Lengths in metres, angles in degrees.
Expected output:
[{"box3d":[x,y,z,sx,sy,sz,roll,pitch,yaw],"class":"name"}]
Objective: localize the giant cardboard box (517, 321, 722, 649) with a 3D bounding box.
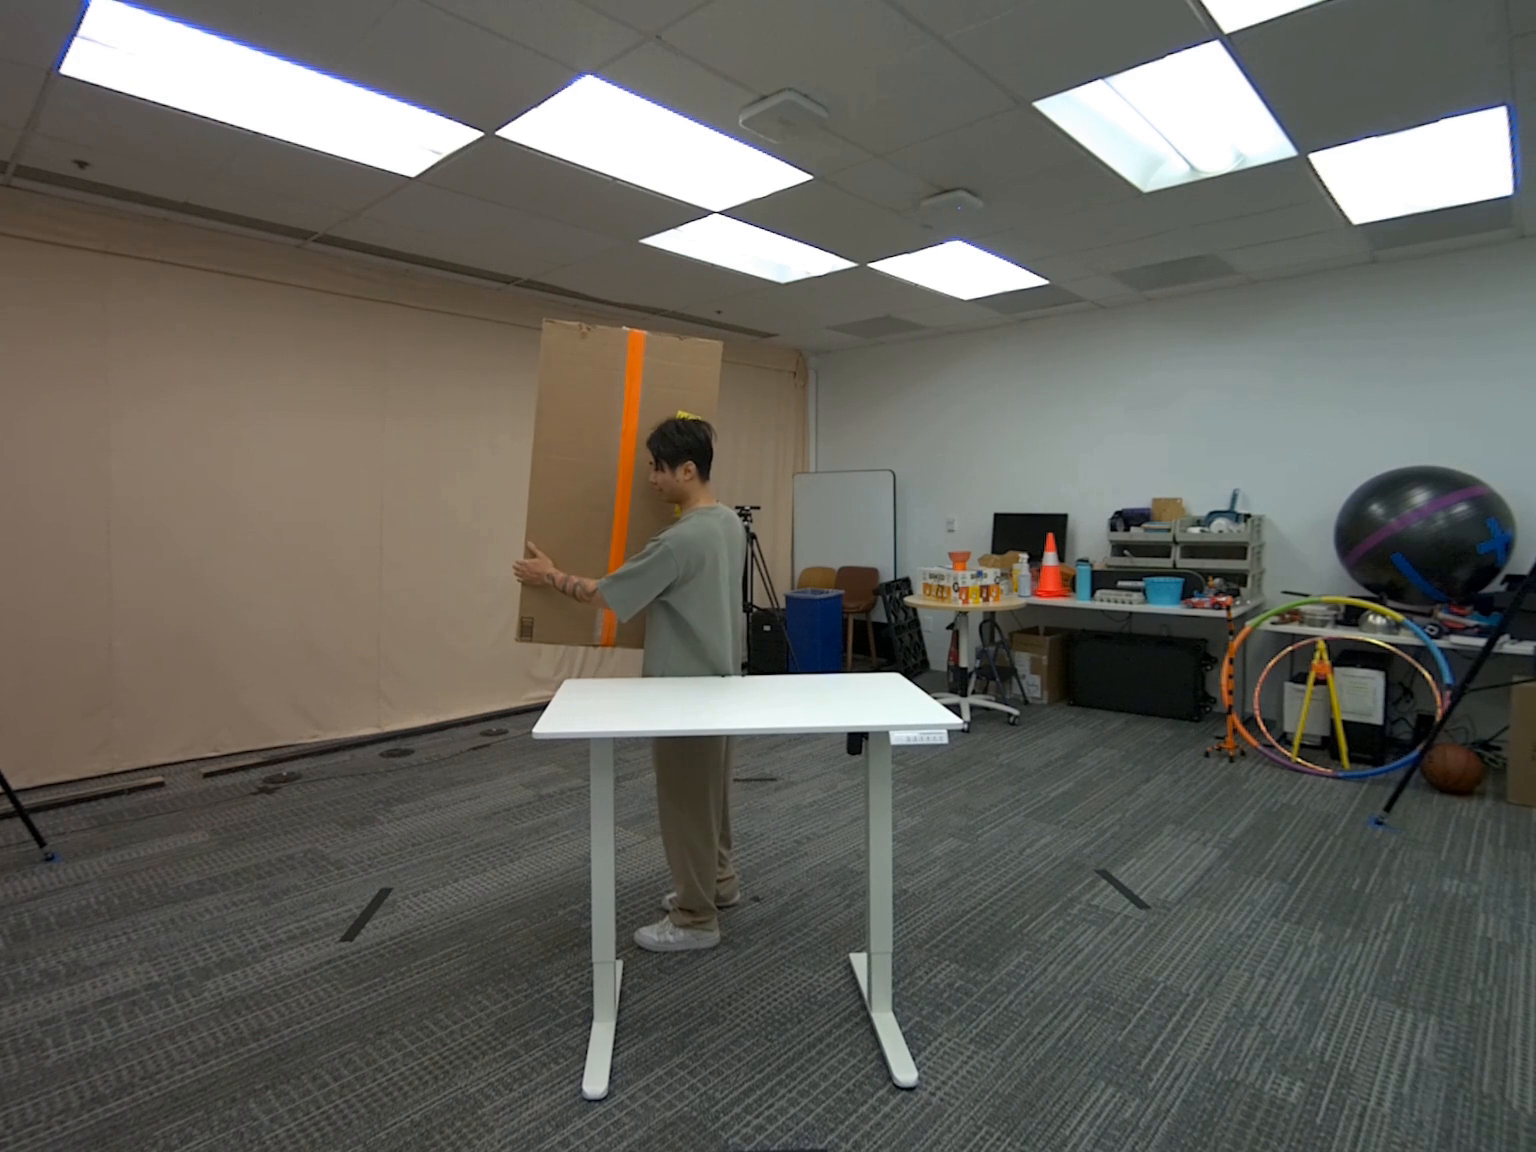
[{"box3d":[-0.523,-0.299,2.894,0.570,1.023,0.433,5,6,-13],"class":"giant cardboard box"}]
